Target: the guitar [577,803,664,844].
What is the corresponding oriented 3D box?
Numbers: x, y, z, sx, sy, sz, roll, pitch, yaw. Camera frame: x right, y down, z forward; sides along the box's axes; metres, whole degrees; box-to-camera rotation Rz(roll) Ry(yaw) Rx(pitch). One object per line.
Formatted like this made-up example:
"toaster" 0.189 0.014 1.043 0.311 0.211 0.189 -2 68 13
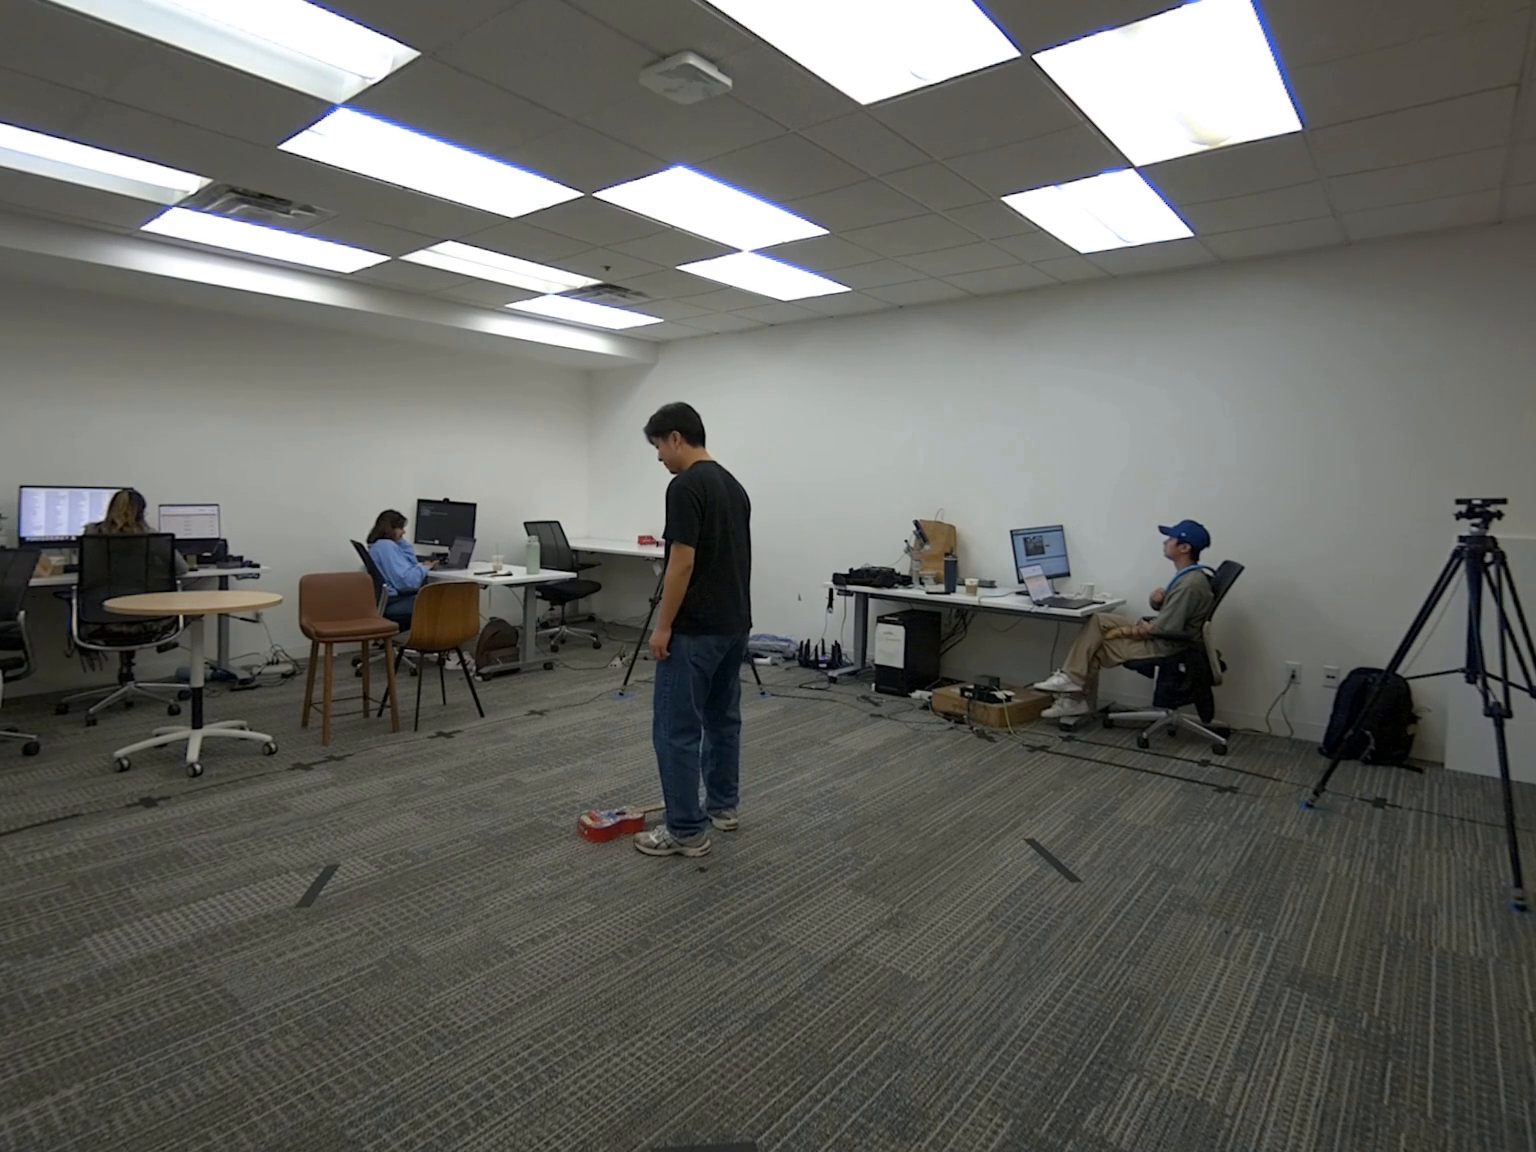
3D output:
"guitar" -0.541 0.995 3.489 0.486 0.070 0.198 -2 5 -24
